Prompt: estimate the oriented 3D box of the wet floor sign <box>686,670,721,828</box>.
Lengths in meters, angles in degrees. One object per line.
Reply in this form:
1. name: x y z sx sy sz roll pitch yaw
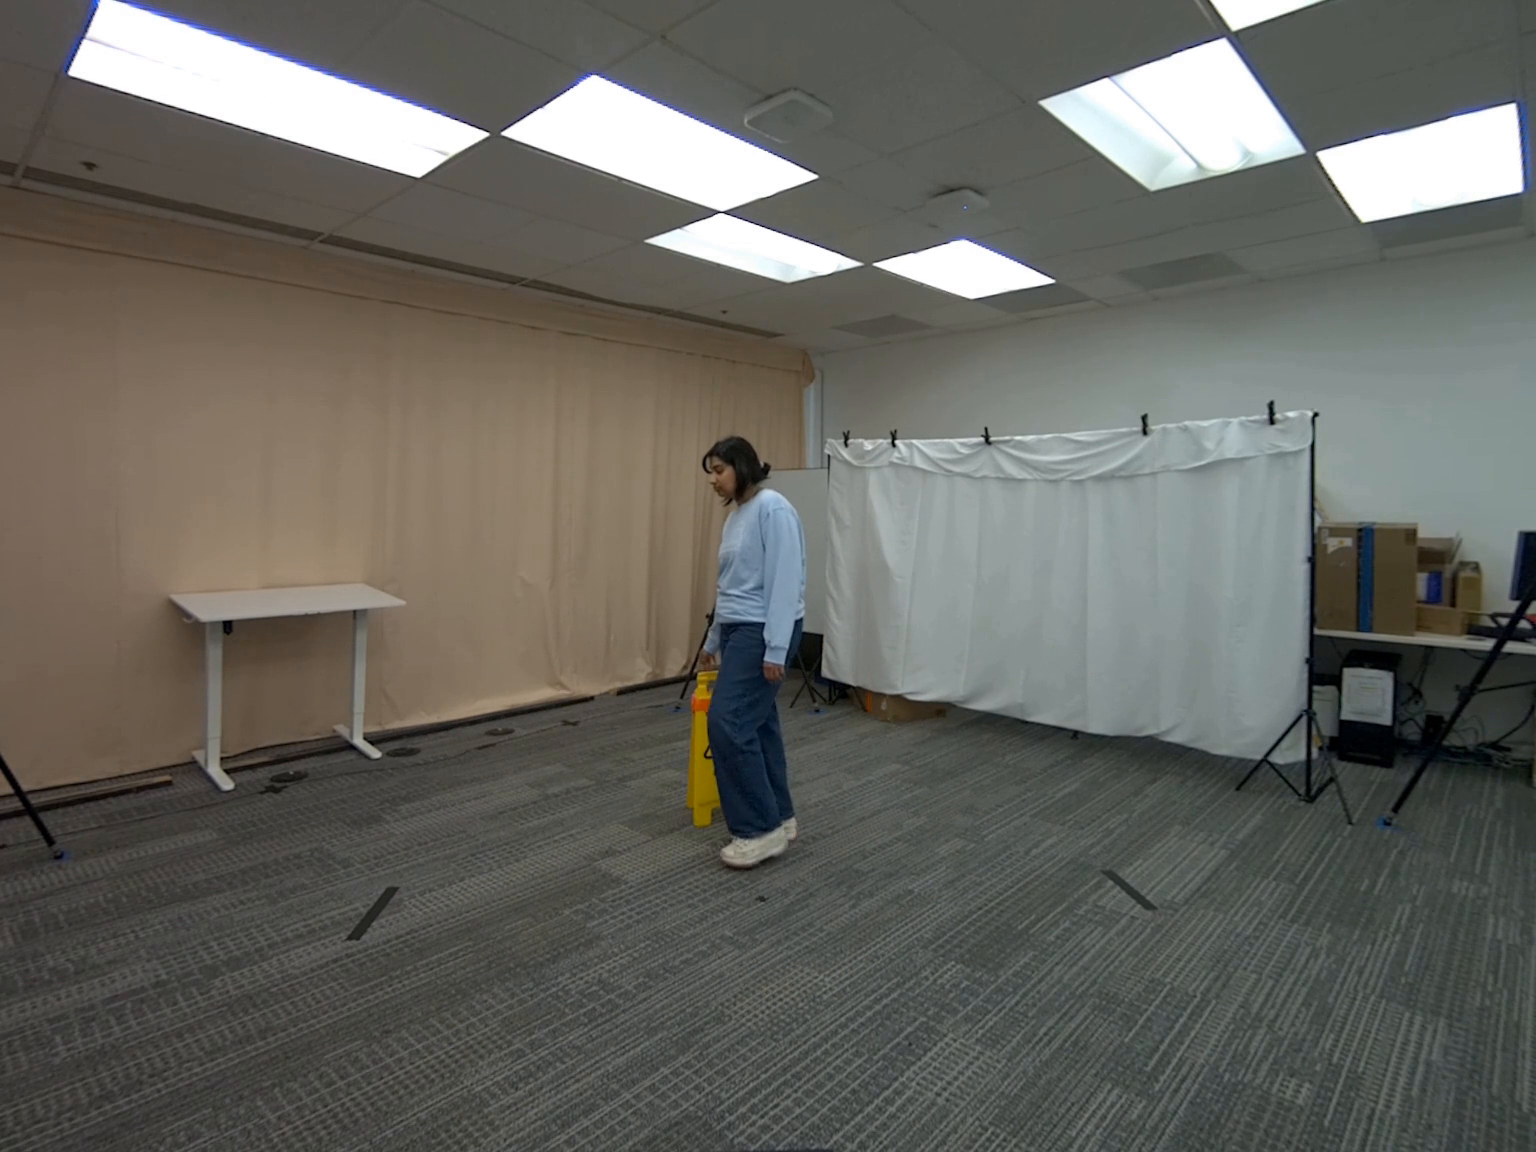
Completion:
1. wet floor sign: -0.214 0.751 3.794 0.279 0.645 0.293 -2 3 -10
